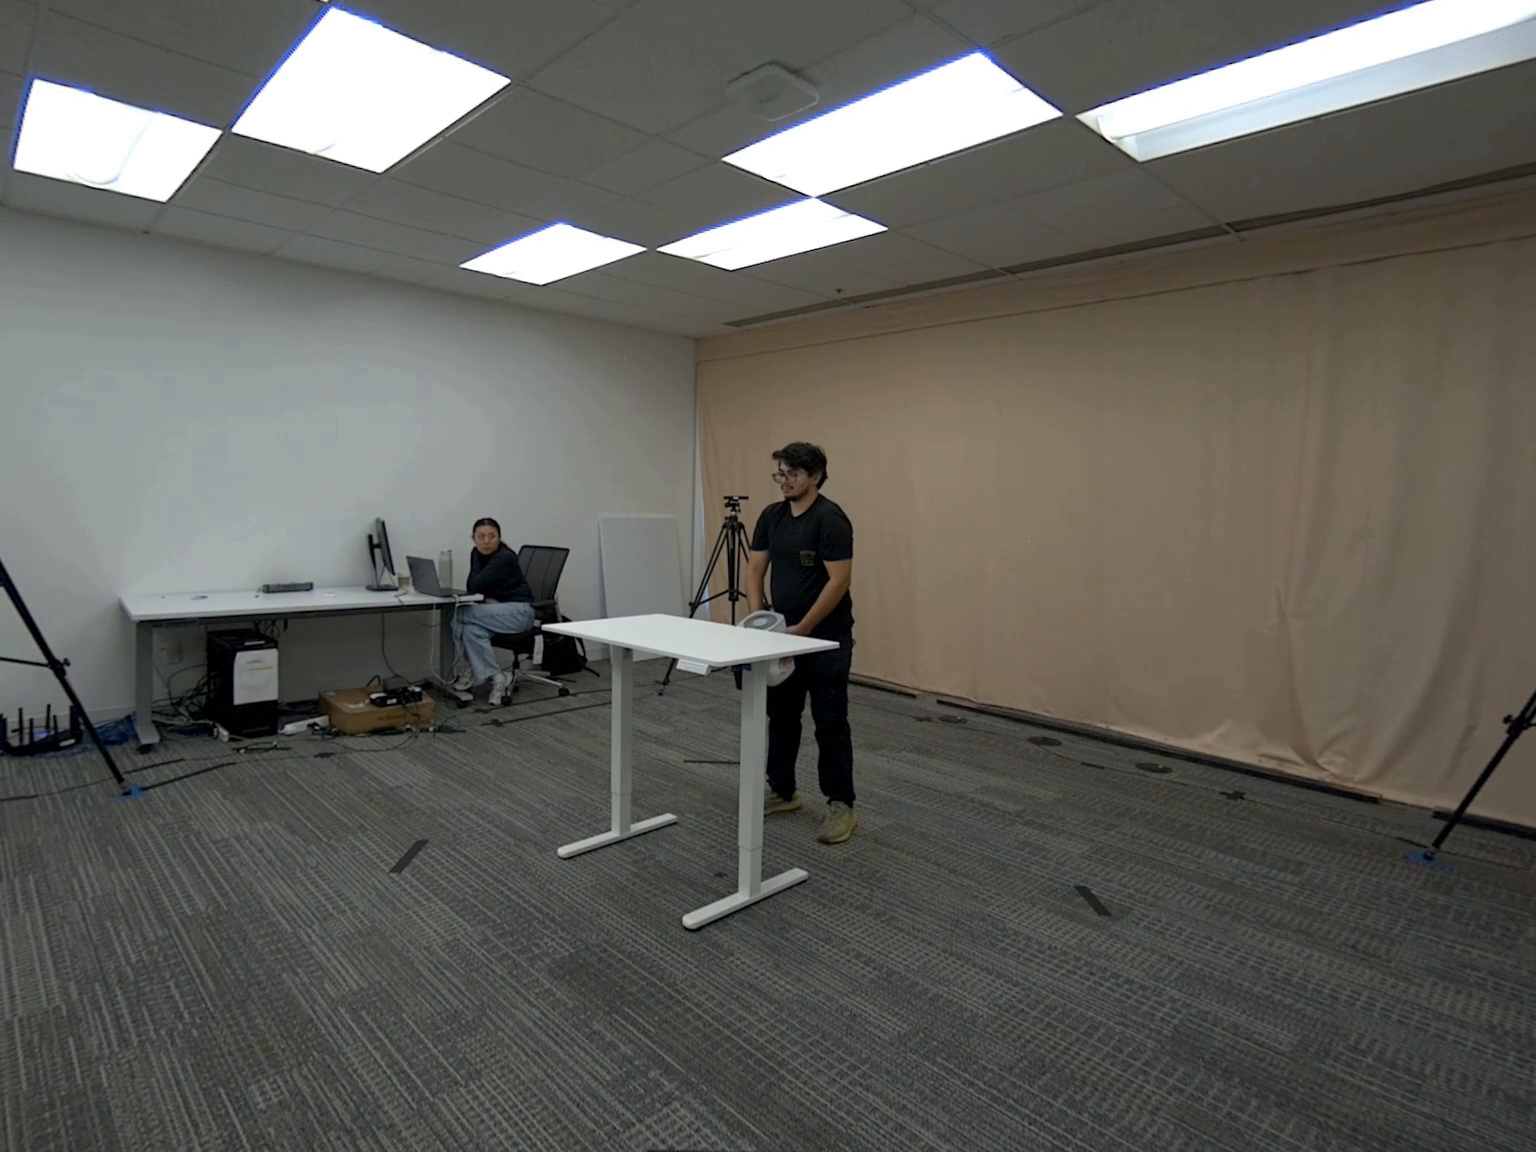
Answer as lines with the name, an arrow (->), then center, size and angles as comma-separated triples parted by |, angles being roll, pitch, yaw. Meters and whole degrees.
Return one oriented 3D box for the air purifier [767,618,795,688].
air purifier -> 0.002, 0.308, 3.496 | 0.175, 0.260, 0.170 | 8, 28, 38
